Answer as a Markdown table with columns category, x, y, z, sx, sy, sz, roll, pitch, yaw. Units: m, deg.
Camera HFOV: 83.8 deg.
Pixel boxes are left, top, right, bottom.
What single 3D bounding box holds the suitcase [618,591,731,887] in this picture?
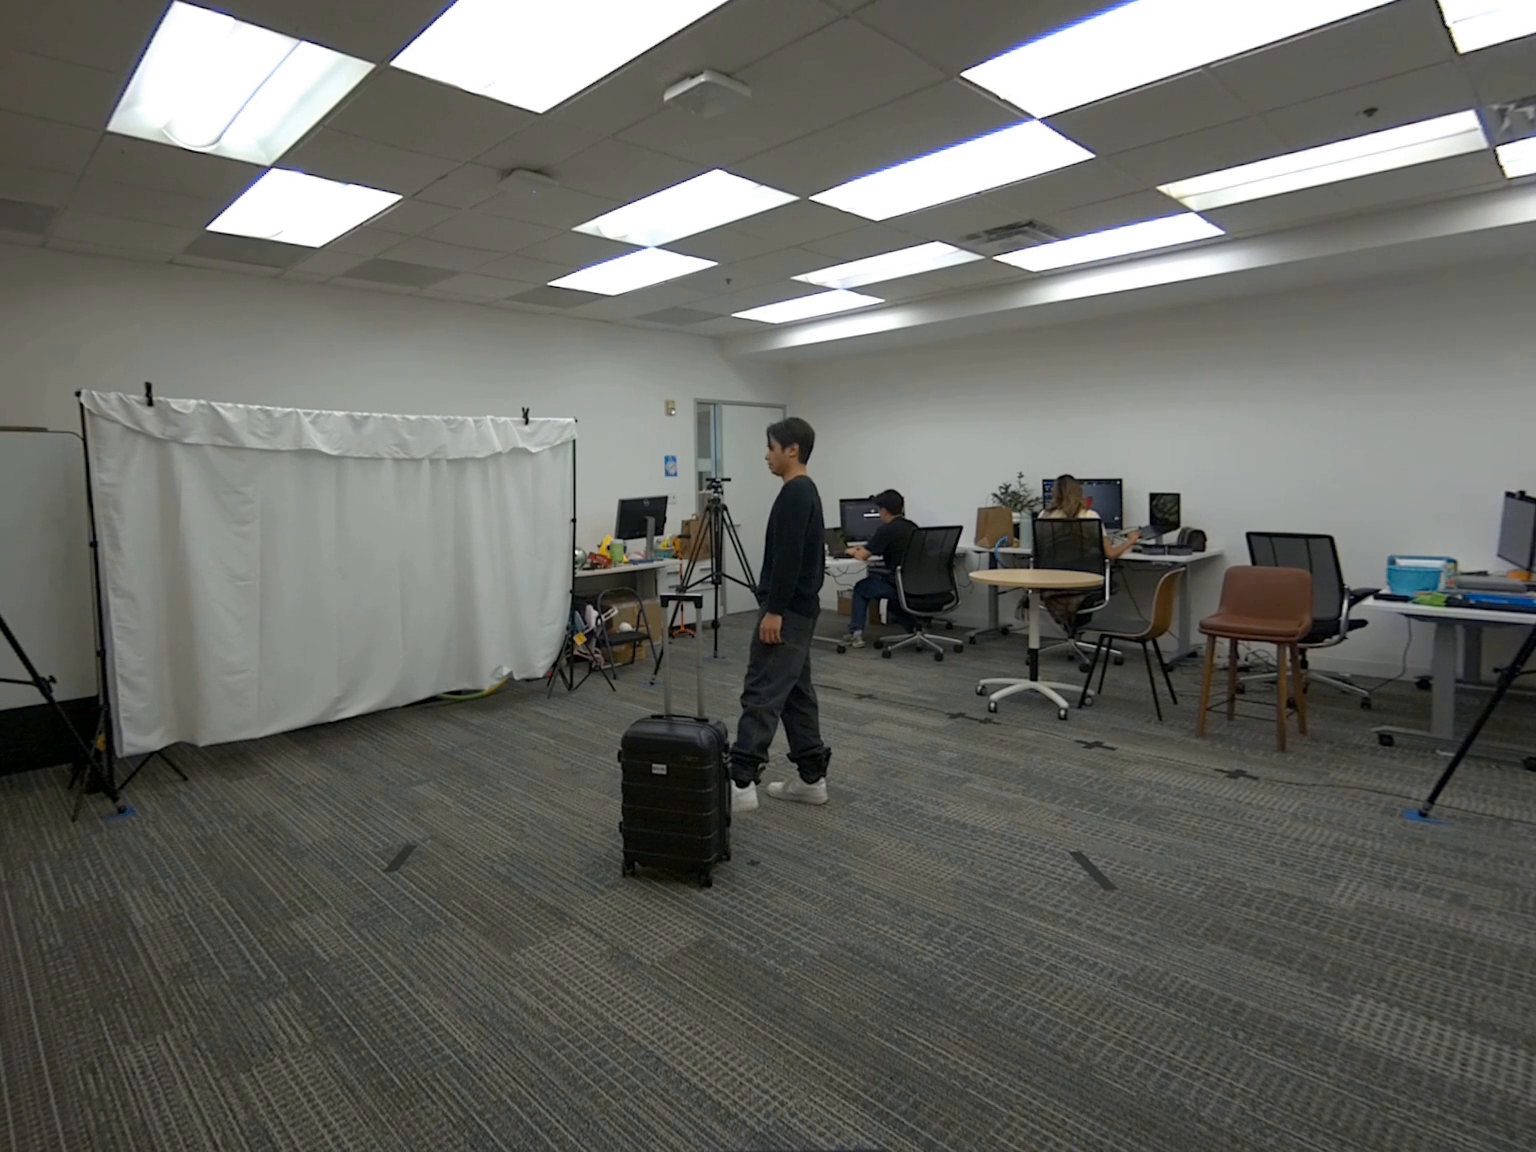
| category | x | y | z | sx | sy | sz | roll | pitch | yaw |
| --- | --- | --- | --- | --- | --- | --- | --- | --- | --- |
| suitcase | -0.331 | 0.577 | 3.021 | 0.391 | 0.973 | 0.254 | 1 | 6 | 18 |
